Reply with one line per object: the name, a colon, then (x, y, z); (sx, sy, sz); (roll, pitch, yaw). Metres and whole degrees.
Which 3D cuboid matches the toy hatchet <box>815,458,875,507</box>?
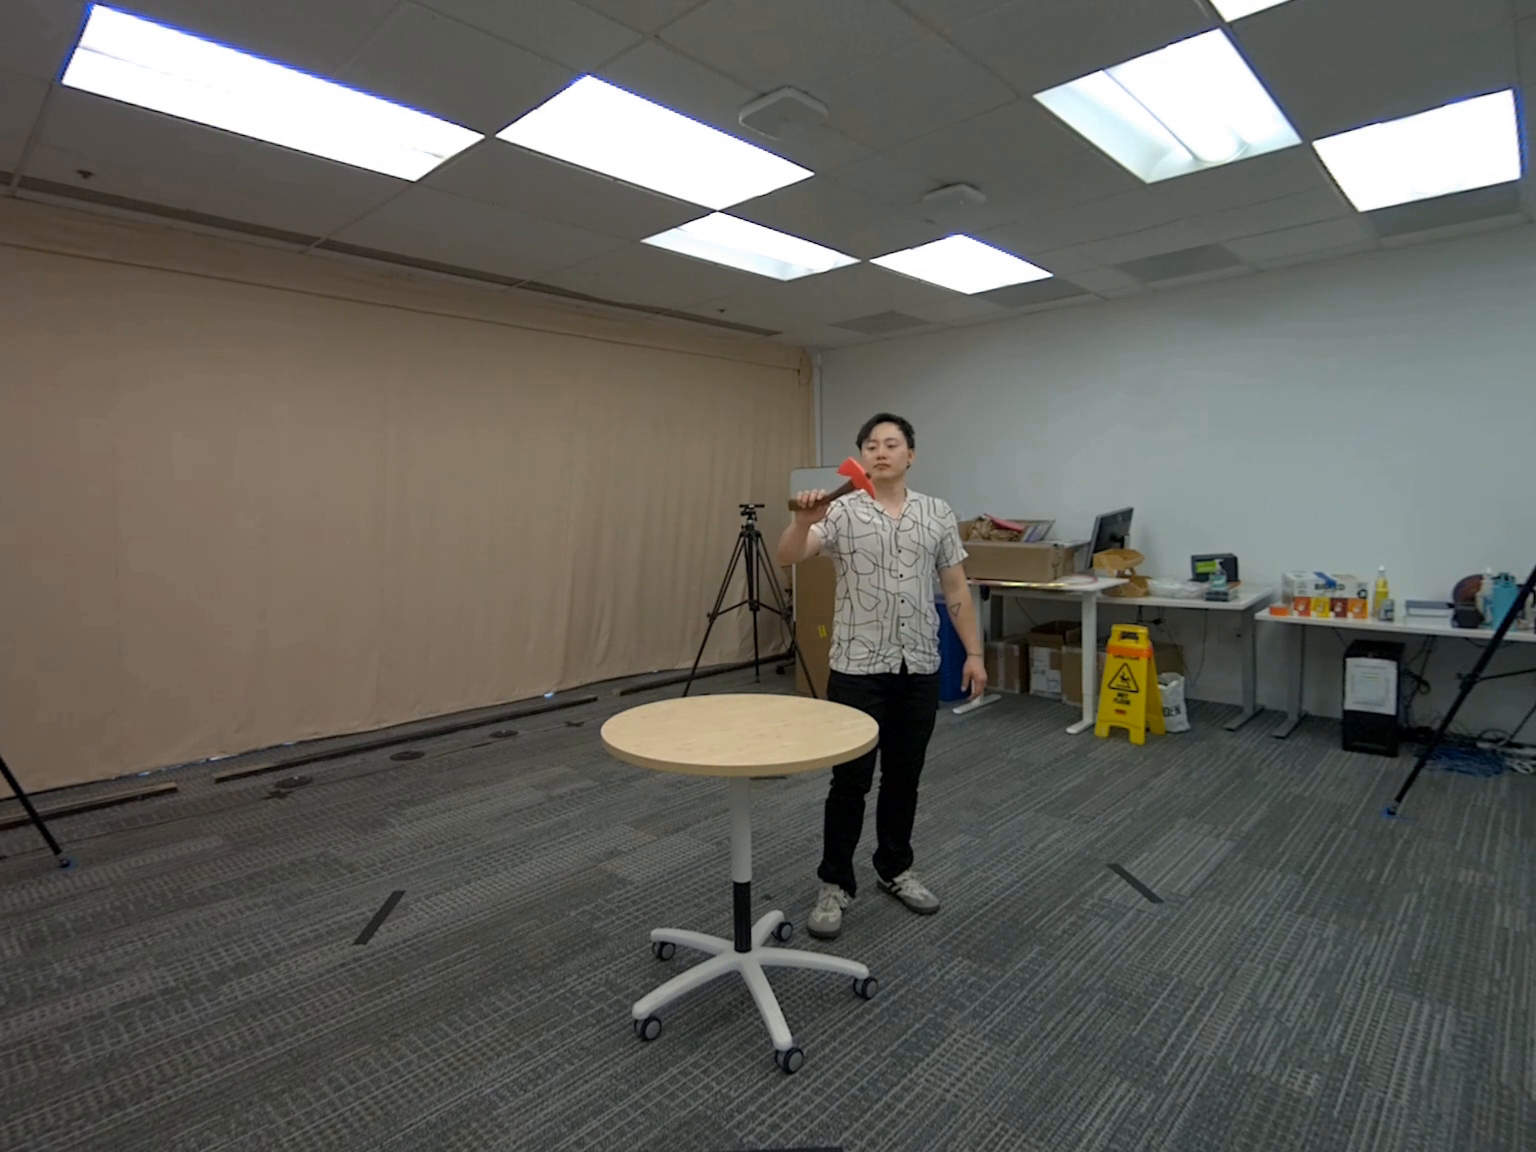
toy hatchet: (0.175, -0.258, 2.381); (0.276, 0.129, 0.029); (-8, 16, 28)
